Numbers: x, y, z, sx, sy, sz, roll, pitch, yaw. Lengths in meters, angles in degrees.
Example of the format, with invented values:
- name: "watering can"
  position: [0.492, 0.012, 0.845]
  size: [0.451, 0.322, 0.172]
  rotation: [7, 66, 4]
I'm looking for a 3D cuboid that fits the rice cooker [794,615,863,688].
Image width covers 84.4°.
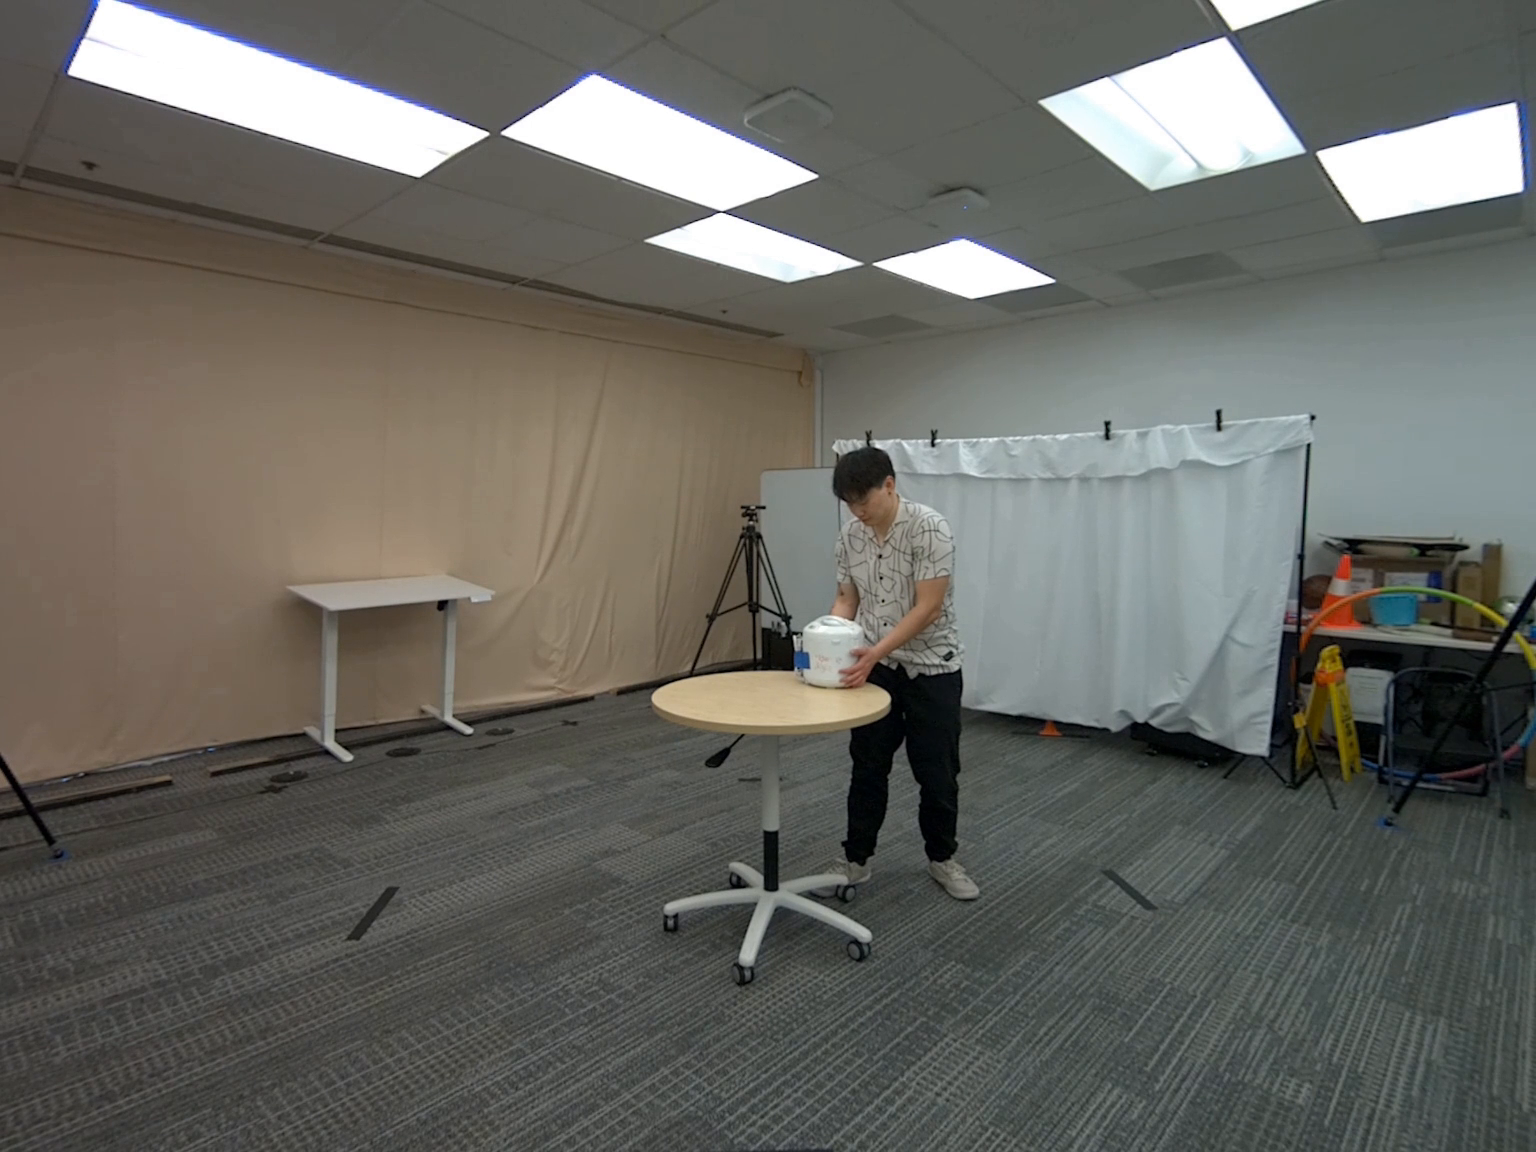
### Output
- name: "rice cooker"
  position: [0.223, 0.253, 2.875]
  size: [0.211, 0.232, 0.228]
  rotation: [-4, 6, -40]
